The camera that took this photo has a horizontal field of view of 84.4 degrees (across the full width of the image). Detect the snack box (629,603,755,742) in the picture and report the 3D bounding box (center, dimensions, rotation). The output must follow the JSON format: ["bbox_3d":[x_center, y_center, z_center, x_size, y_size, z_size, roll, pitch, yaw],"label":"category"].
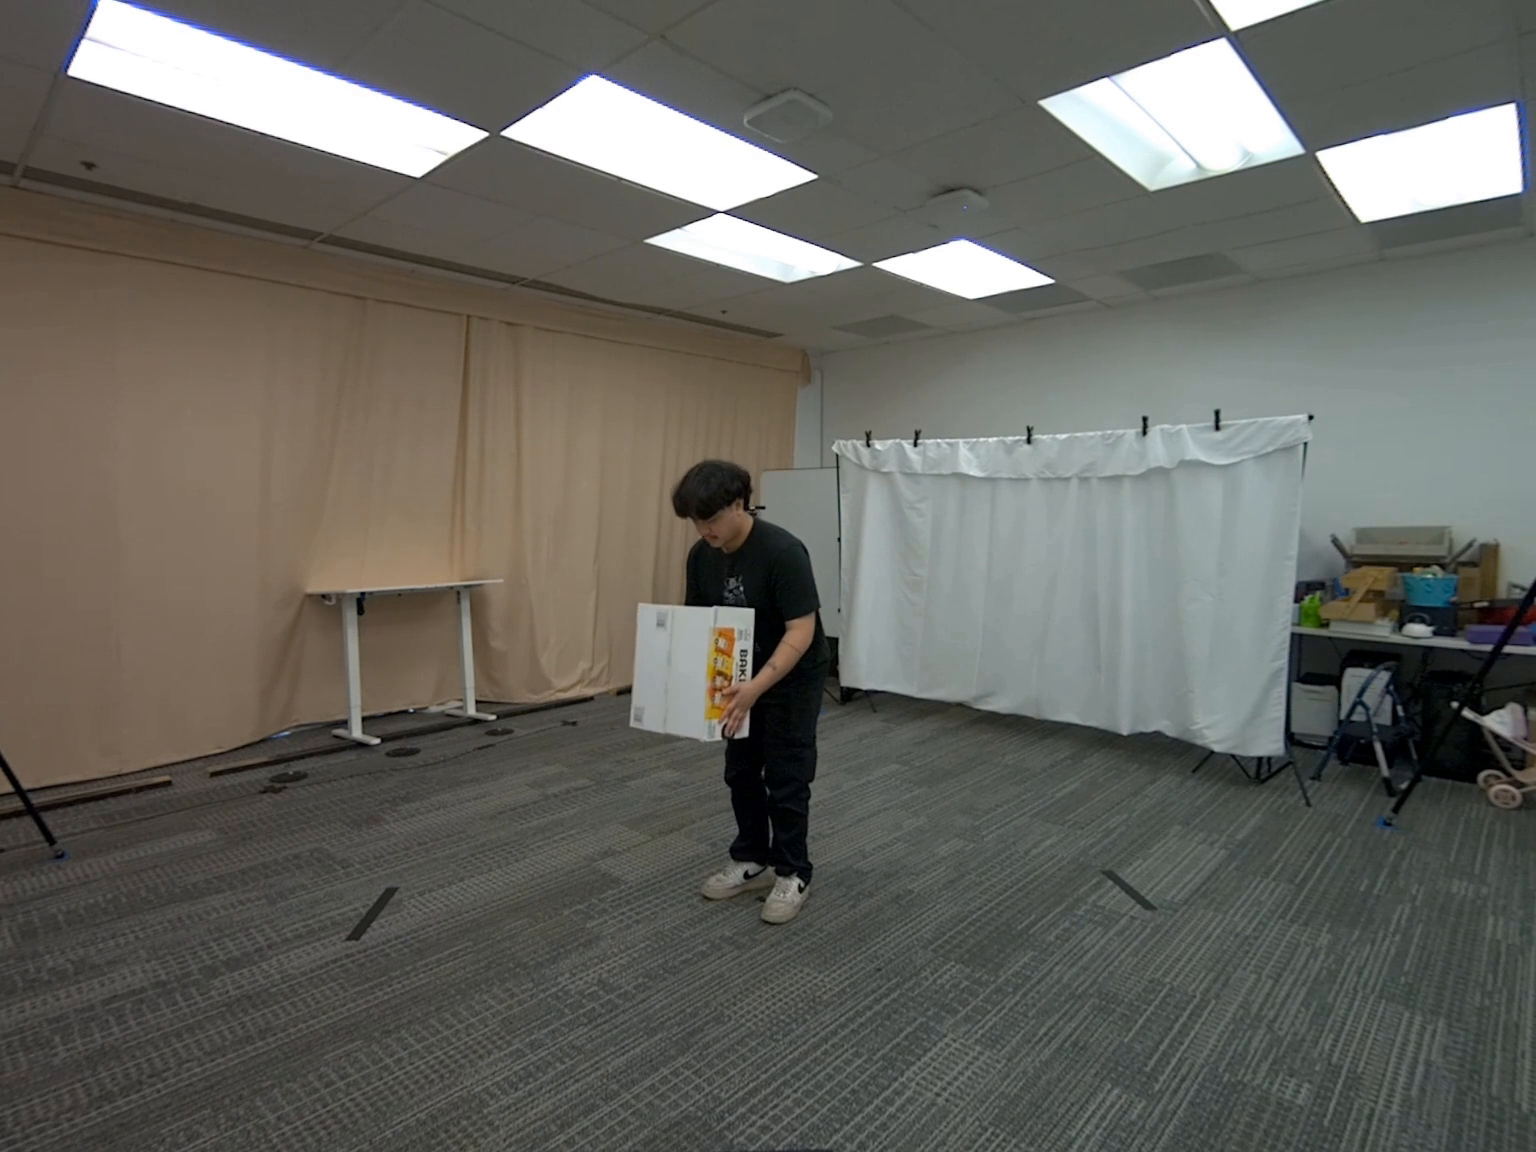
[{"bbox_3d":[-0.243,0.301,2.720,0.351,0.406,0.199,0,-5,40],"label":"snack box"}]
